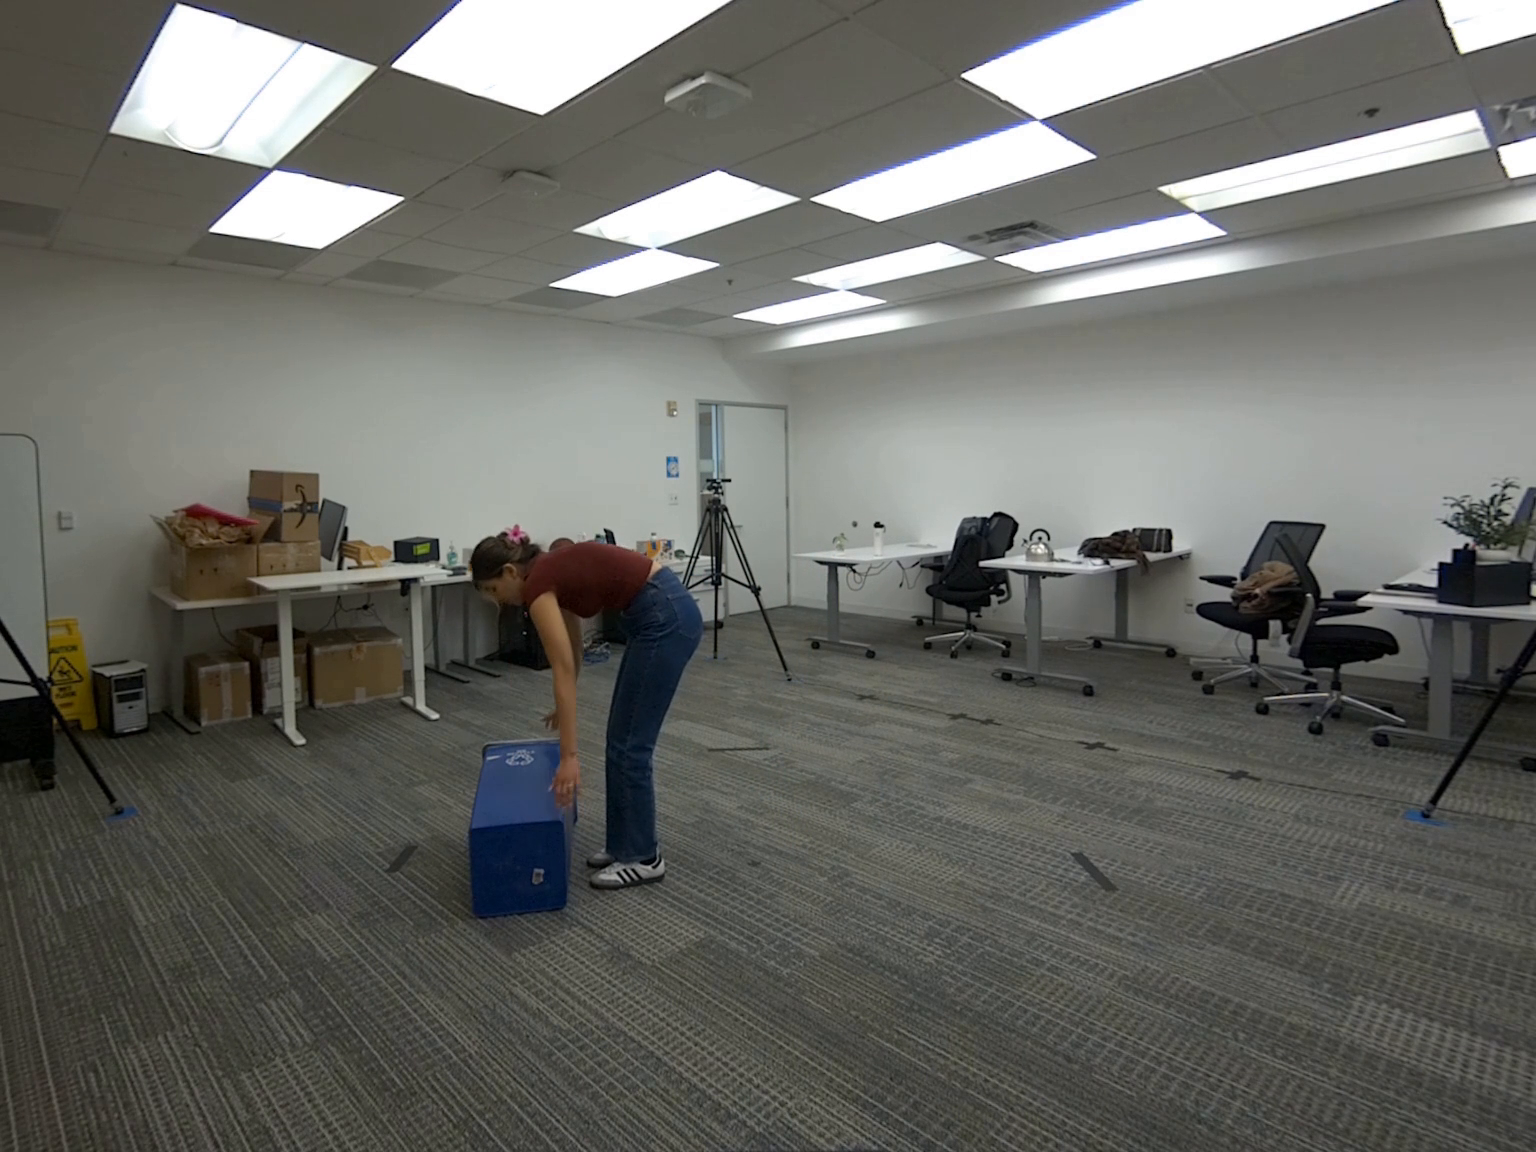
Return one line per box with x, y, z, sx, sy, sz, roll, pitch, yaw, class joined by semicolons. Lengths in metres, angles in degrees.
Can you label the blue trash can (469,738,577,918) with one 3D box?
-0.878;0.893;3.105;0.370;0.375;0.726;-2;8;-12;blue trash can
